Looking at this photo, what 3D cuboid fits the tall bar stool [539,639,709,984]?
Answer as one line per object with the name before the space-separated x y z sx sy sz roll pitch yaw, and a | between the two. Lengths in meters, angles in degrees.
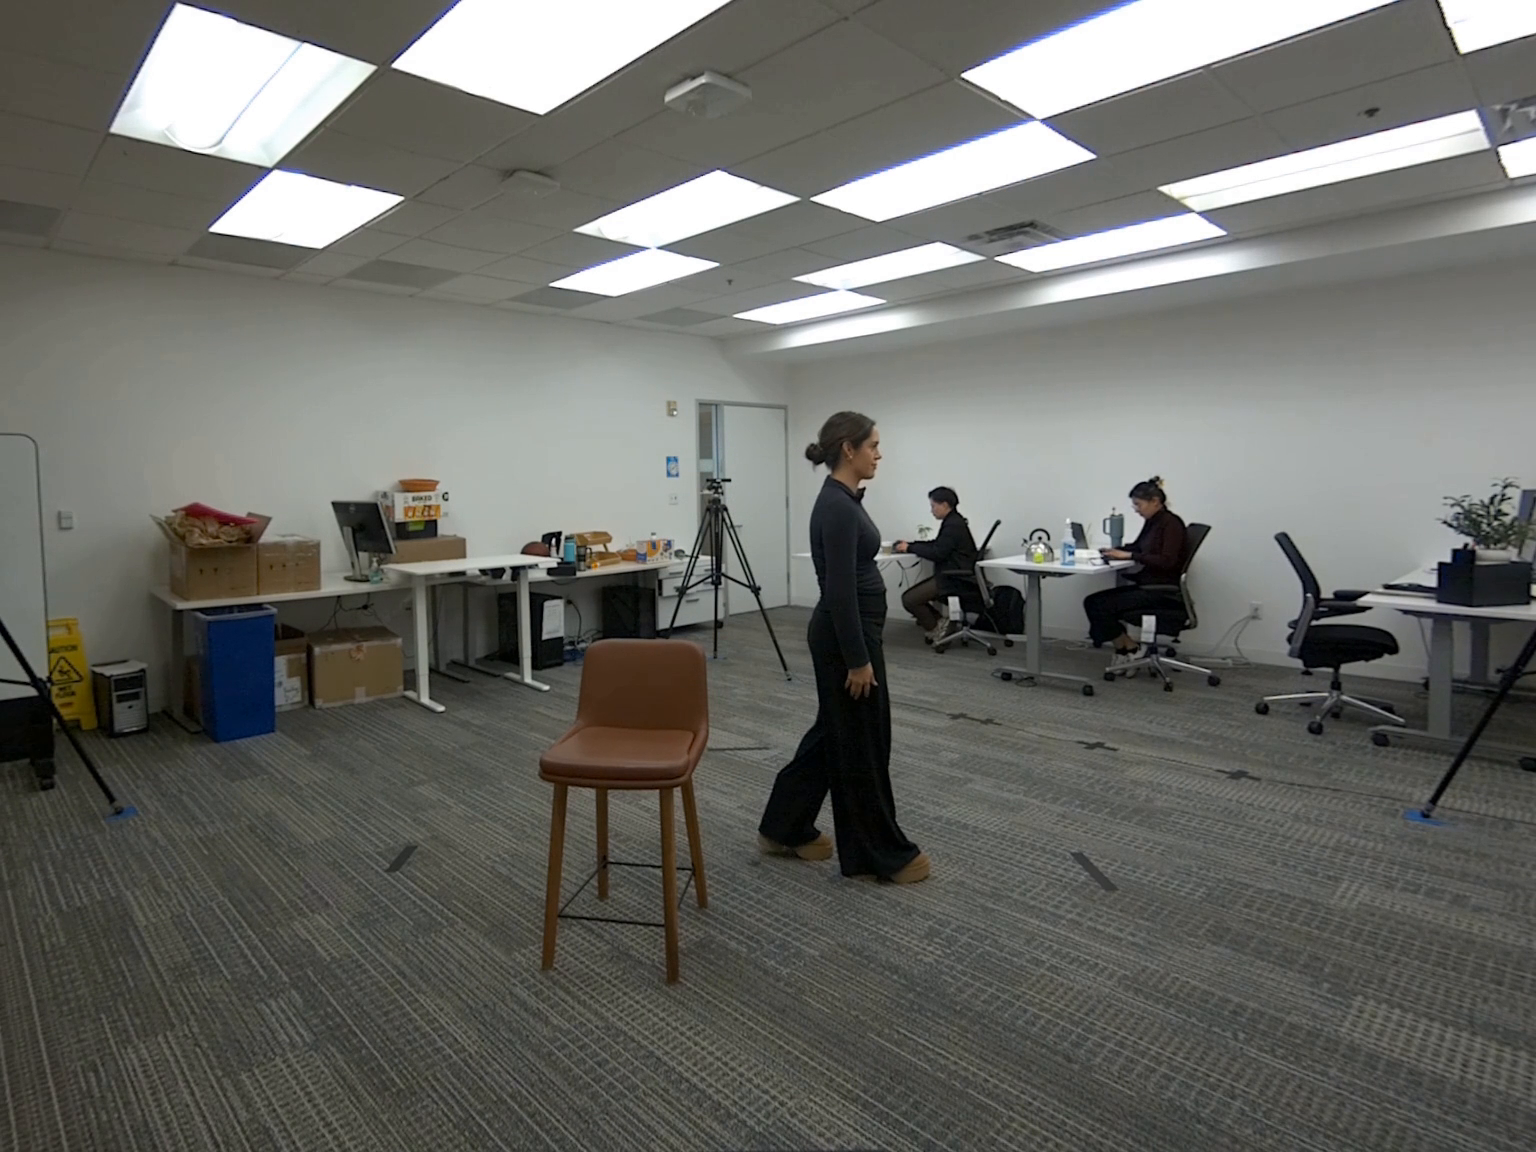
tall bar stool | -0.419 0.677 2.605 0.462 0.887 0.463 0 3 12
